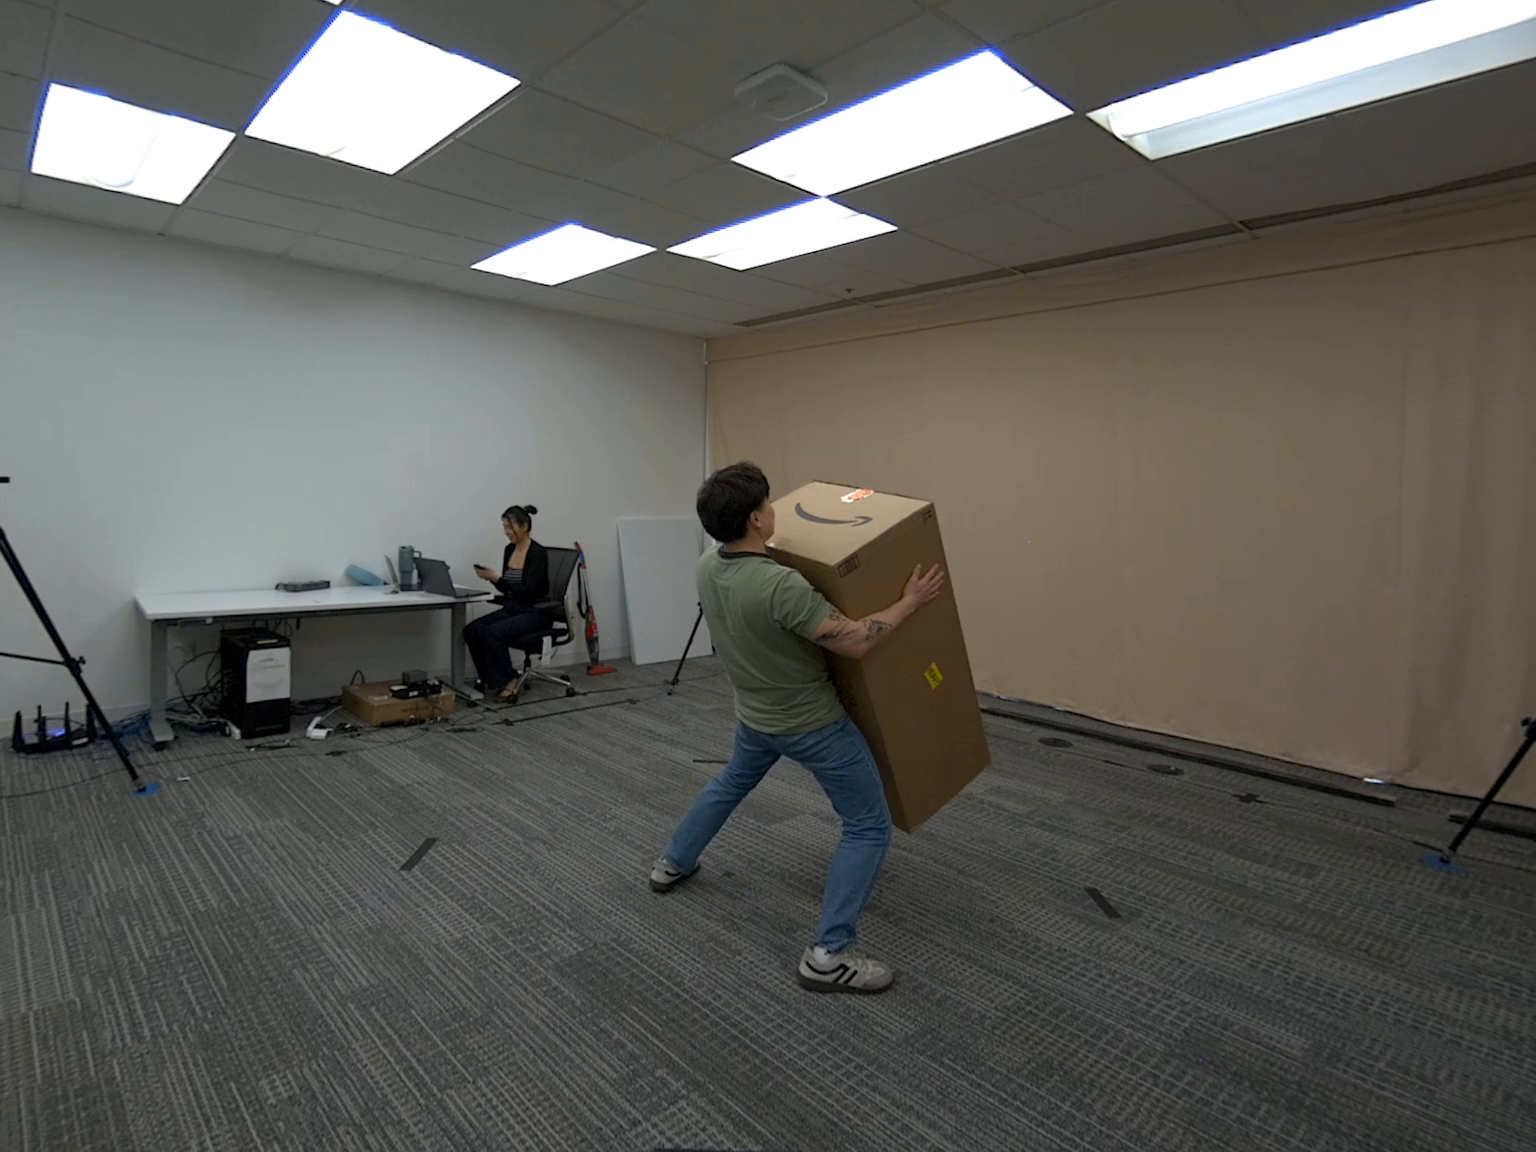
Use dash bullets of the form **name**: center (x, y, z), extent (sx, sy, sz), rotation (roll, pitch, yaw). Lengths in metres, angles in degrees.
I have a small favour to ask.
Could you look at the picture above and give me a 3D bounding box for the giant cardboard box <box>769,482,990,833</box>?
- **giant cardboard box**: center (0.316, 0.249, 2.880), extent (0.423, 1.005, 0.594), rotation (-30, 26, -26)
